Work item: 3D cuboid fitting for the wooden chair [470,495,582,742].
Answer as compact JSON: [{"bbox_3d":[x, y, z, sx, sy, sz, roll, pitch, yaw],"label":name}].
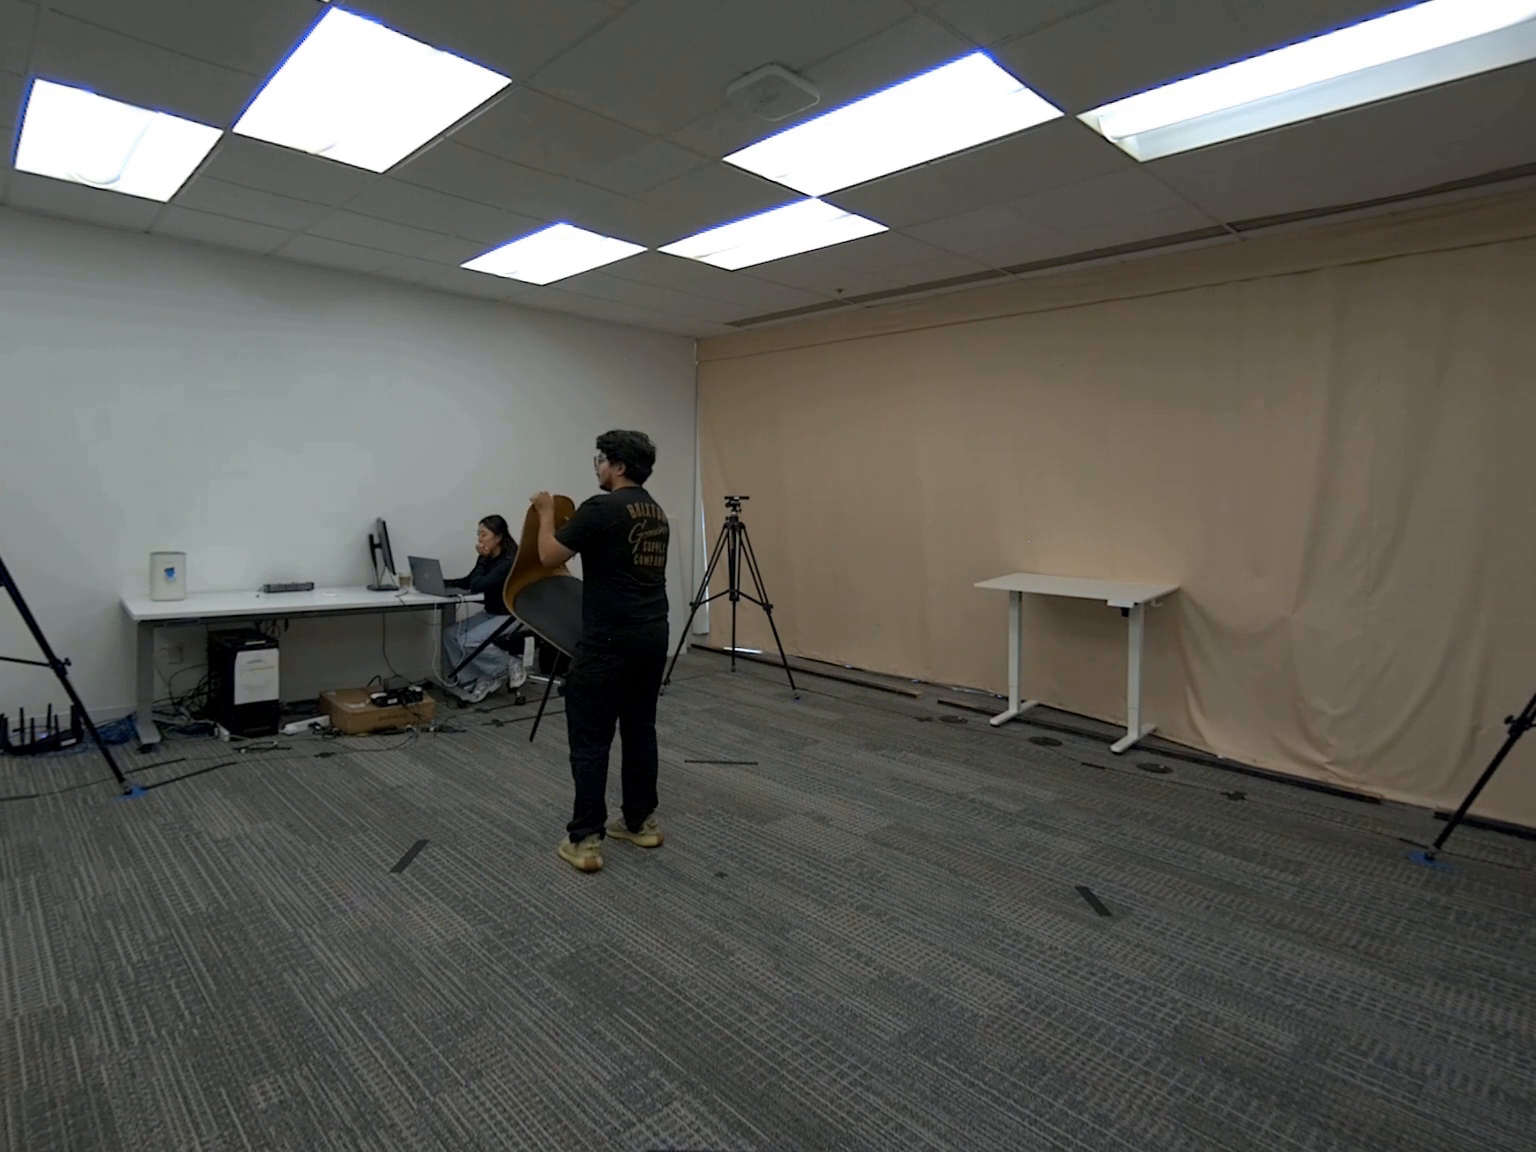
[{"bbox_3d":[-0.880,0.167,3.514,0.528,0.872,0.477,32,24,7],"label":"wooden chair"}]
